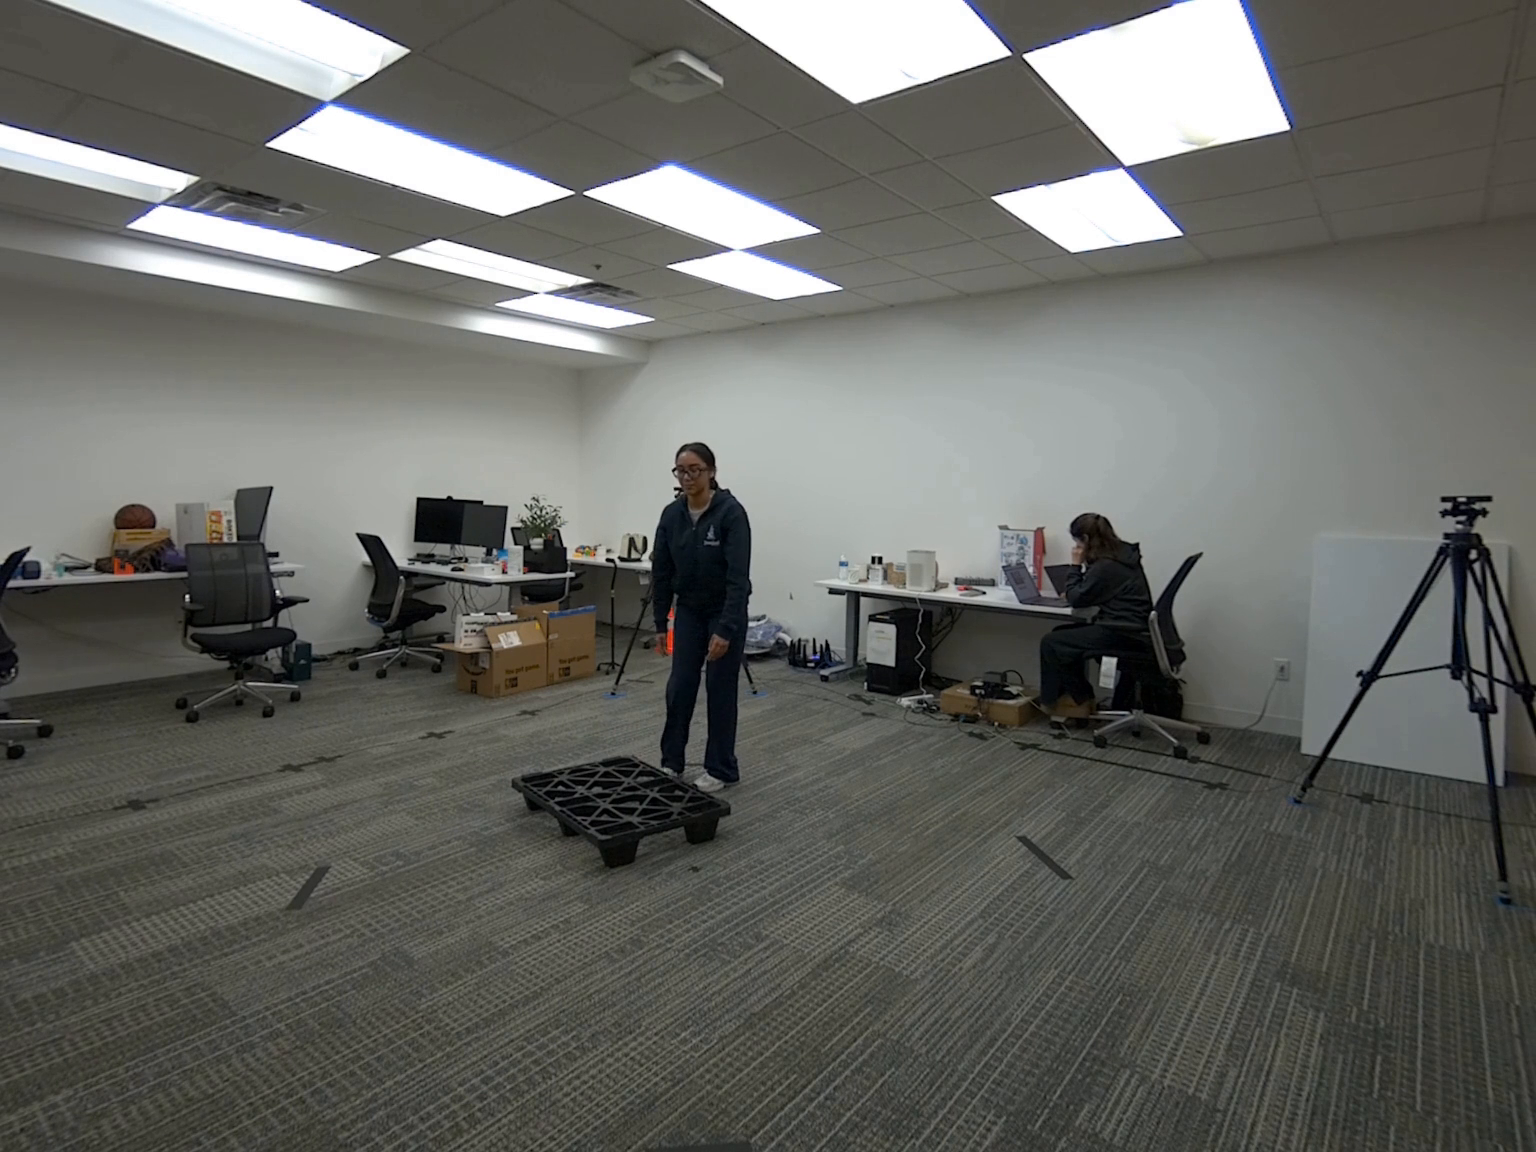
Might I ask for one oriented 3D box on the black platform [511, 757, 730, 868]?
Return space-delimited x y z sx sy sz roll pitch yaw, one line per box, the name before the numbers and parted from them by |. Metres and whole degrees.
black platform | -0.638 0.953 3.525 0.587 0.143 0.833 -3 7 -38
